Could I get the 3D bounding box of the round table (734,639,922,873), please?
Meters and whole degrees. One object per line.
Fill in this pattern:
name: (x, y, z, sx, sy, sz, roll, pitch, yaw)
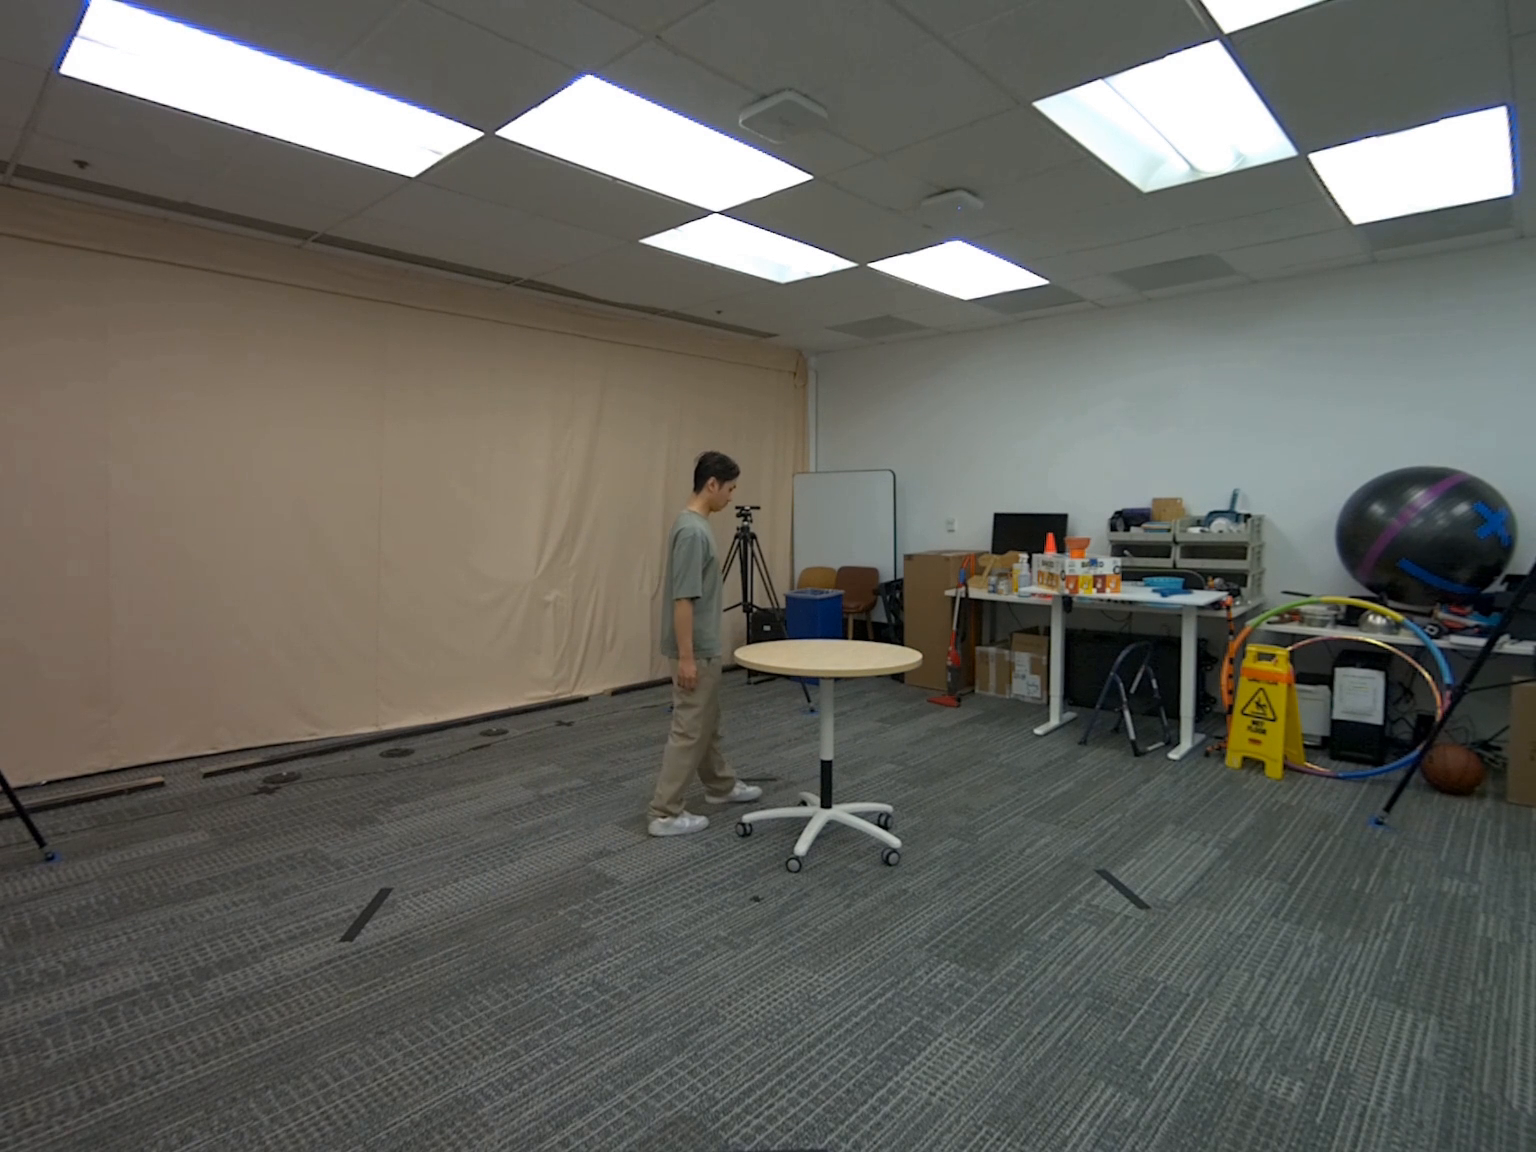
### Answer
round table: (0.229, 0.706, 3.490, 0.784, 0.785, 0.787, 0, 3, -2)
